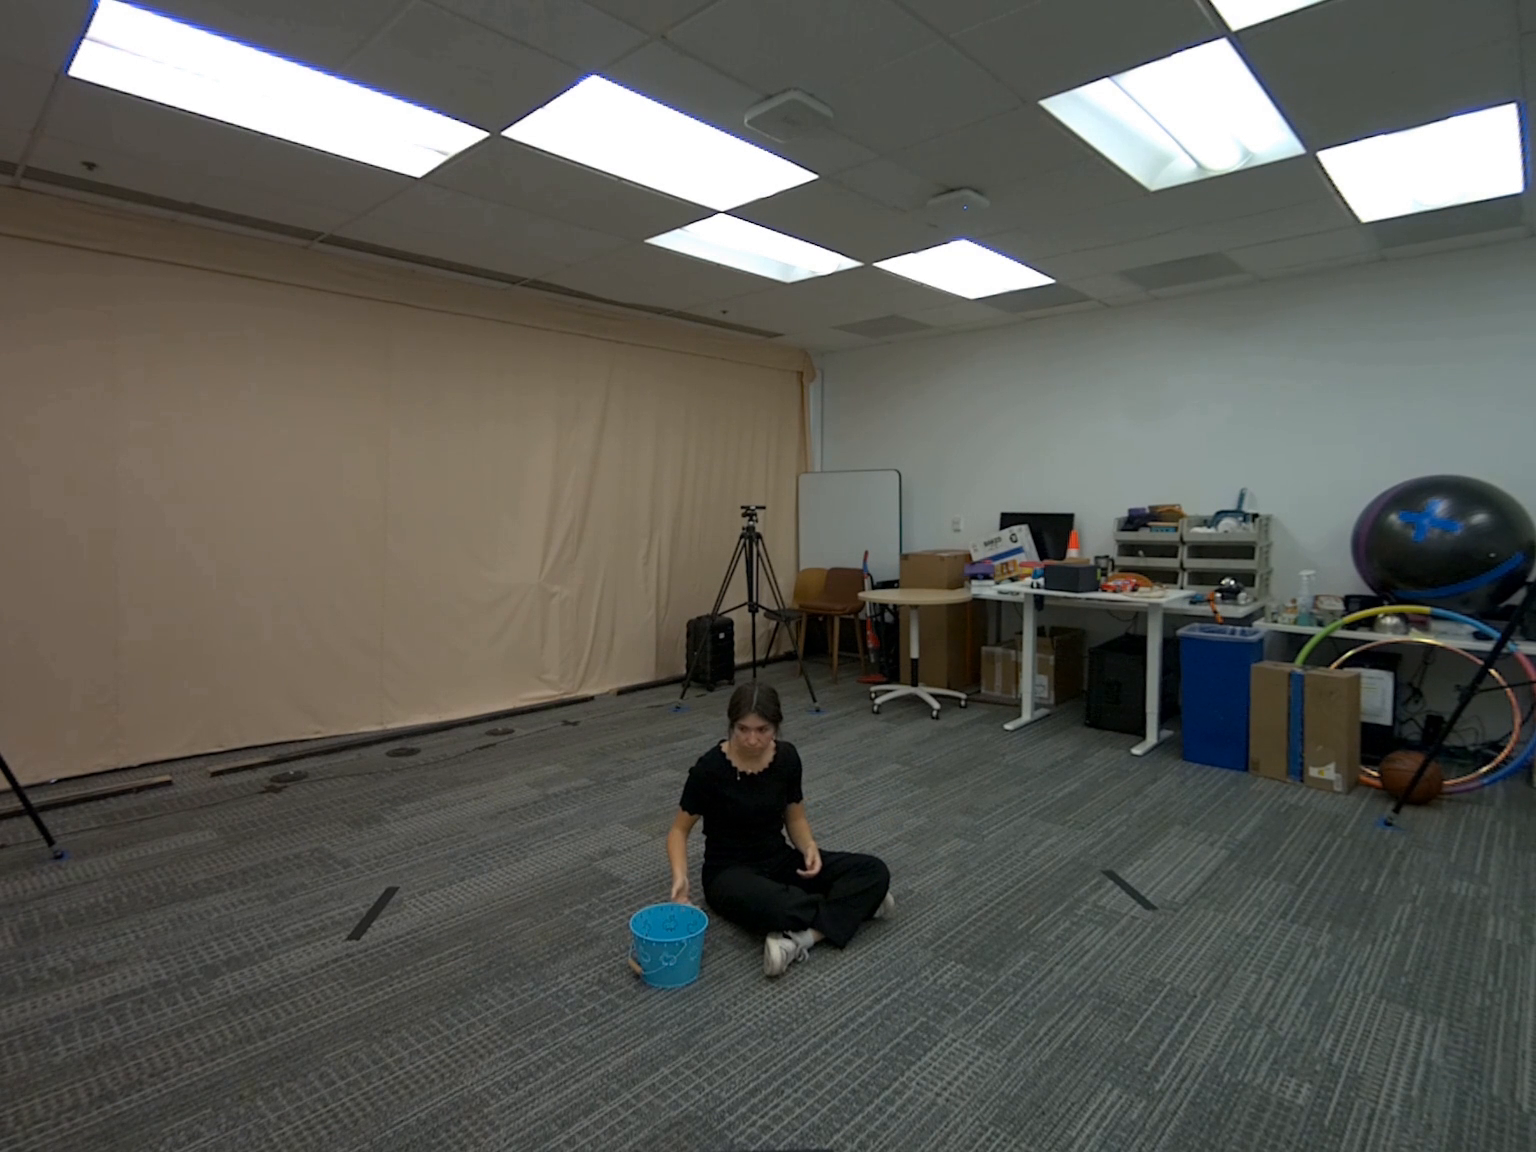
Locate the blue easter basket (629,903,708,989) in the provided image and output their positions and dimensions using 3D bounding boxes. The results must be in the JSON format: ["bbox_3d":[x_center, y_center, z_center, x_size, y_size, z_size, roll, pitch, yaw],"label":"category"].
[{"bbox_3d":[-0.294,1.097,2.524,0.243,0.155,0.244,0,4,-2],"label":"blue easter basket"}]
